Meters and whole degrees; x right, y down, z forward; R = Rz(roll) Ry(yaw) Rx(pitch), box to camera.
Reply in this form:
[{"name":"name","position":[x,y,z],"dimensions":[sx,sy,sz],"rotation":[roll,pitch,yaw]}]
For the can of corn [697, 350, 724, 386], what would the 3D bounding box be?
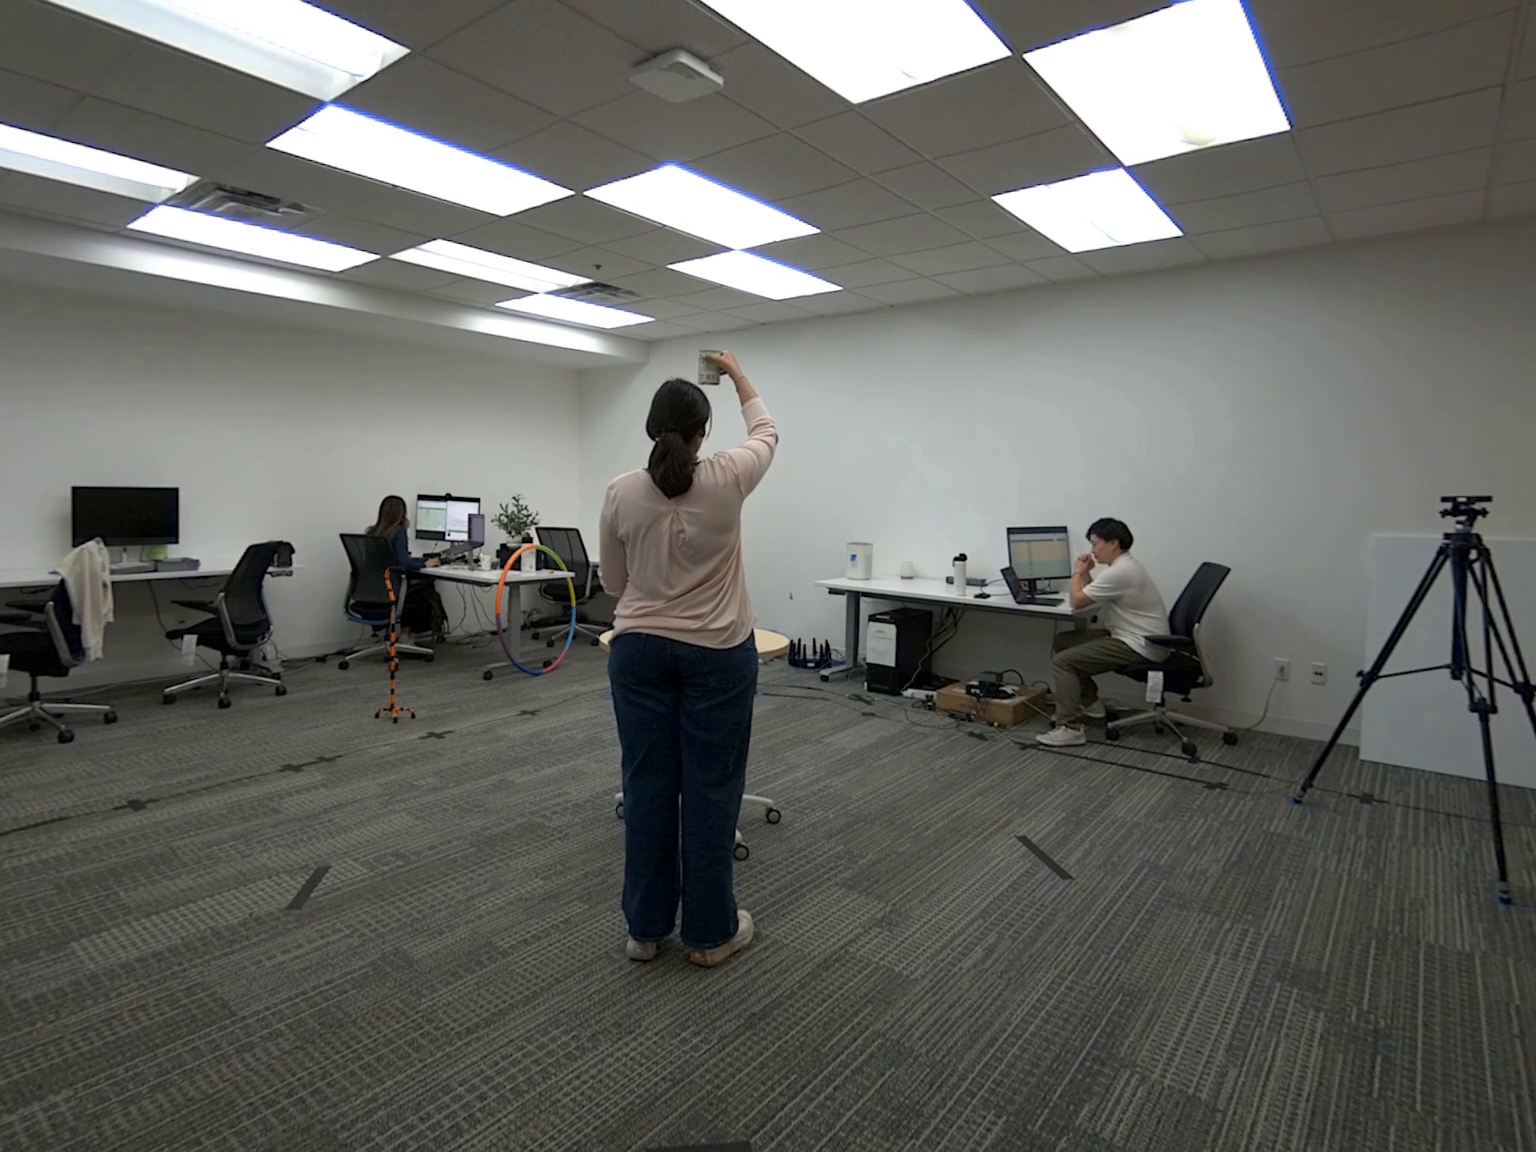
[{"name":"can of corn","position":[-0.209,-0.699,2.845],"dimensions":[0.074,0.110,0.075],"rotation":[2,9,-2]}]
